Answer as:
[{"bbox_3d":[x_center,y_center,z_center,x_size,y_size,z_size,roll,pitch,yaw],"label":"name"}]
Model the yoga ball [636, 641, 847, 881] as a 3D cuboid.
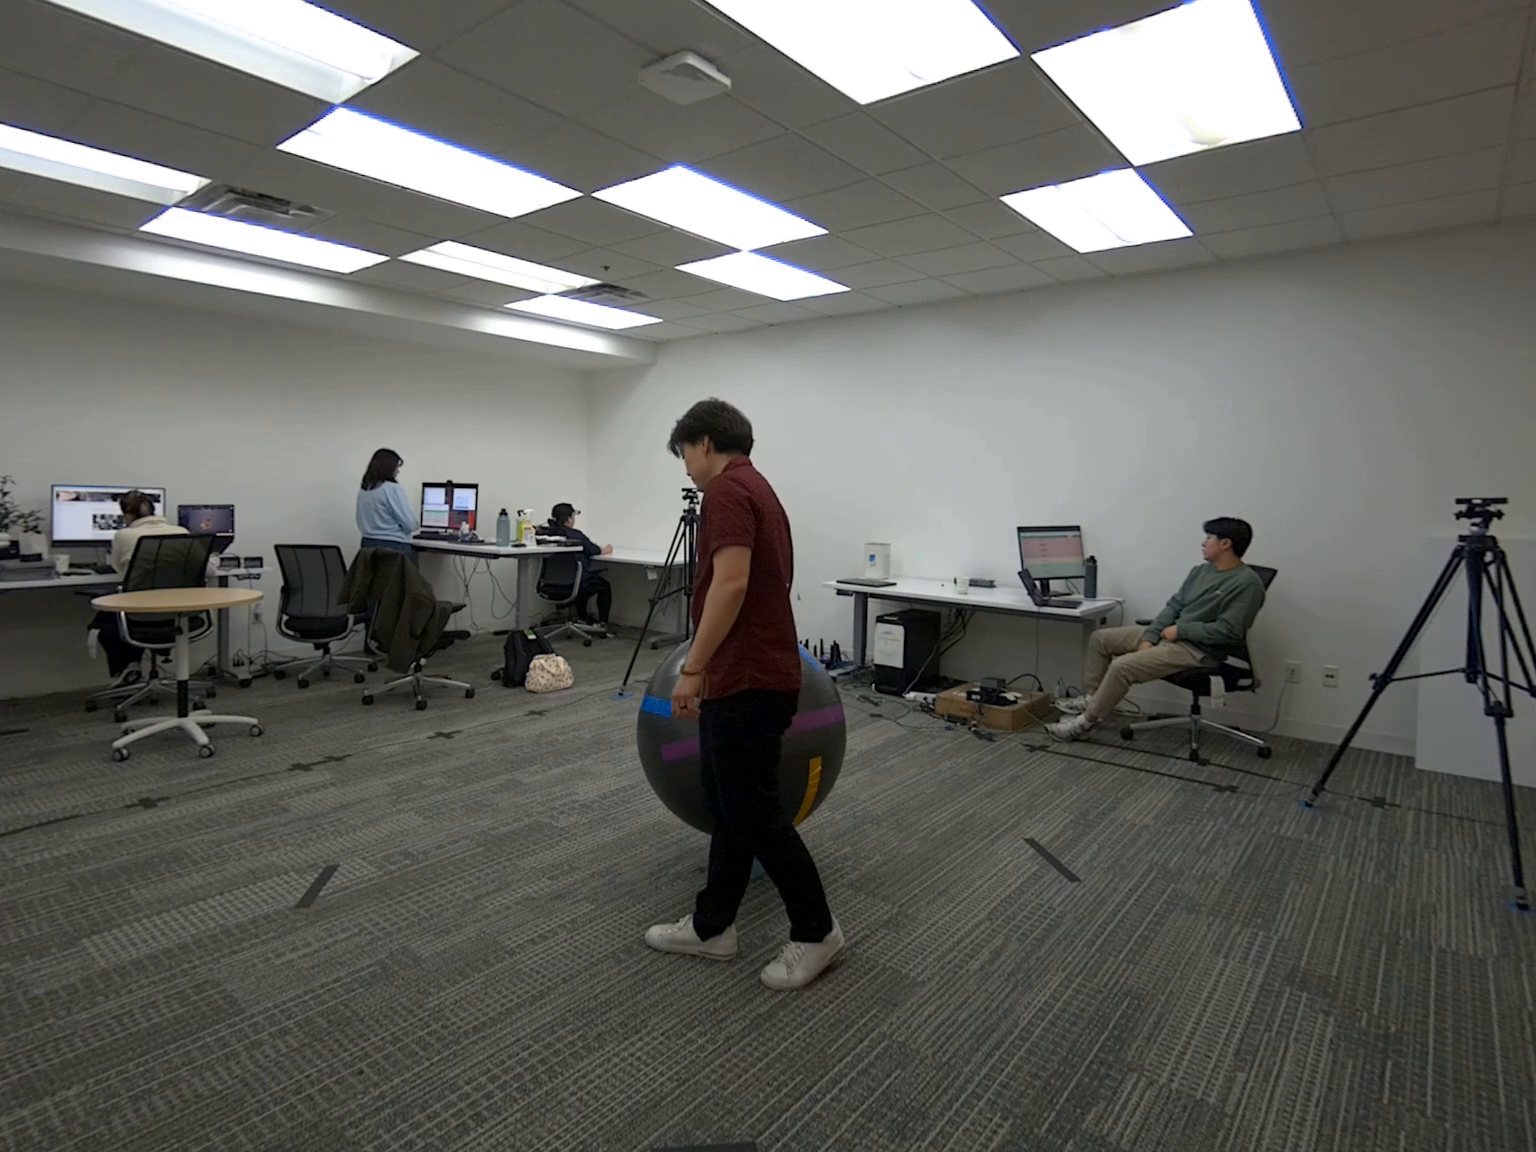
[{"bbox_3d":[-0.110,0.559,3.100,0.757,0.755,0.762,1,4,-2],"label":"yoga ball"}]
